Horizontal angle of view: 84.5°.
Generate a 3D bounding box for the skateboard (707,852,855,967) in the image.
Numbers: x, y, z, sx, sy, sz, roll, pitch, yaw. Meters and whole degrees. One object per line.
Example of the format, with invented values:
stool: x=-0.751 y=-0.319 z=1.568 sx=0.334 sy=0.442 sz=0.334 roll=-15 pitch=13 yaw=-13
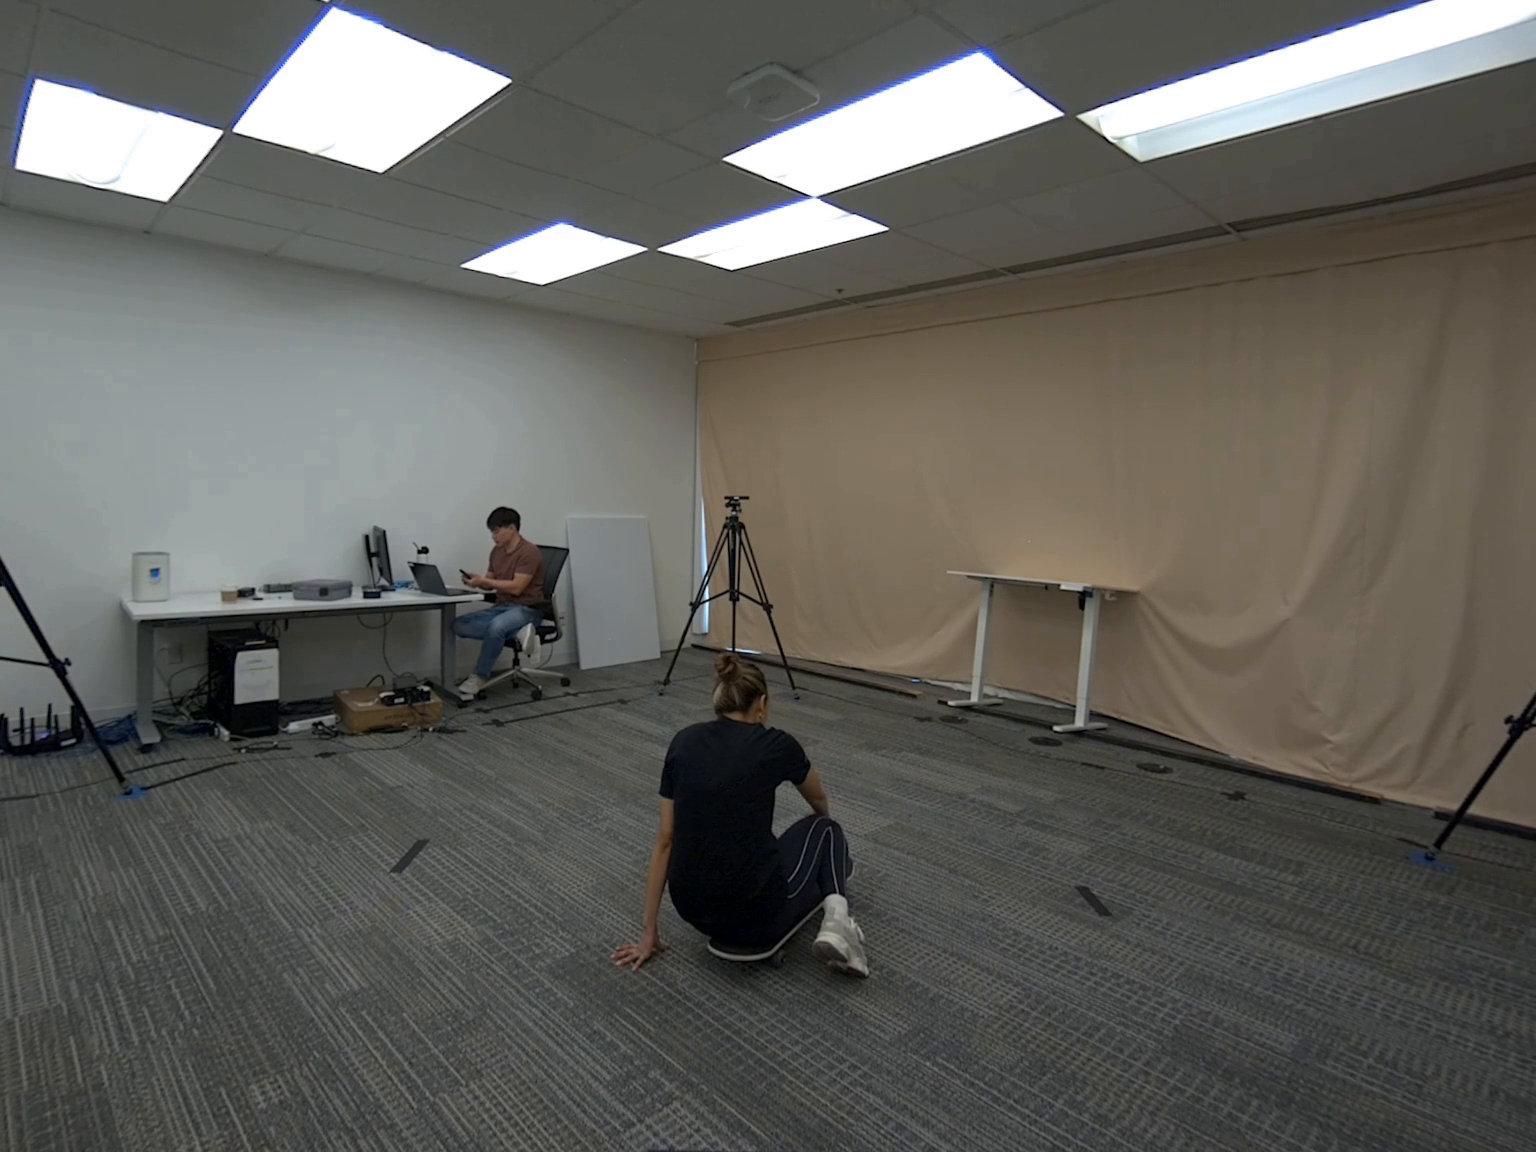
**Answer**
skateboard: x=0.059 y=1.084 z=2.716 sx=0.198 sy=0.110 sz=0.771 roll=3 pitch=6 yaw=30
